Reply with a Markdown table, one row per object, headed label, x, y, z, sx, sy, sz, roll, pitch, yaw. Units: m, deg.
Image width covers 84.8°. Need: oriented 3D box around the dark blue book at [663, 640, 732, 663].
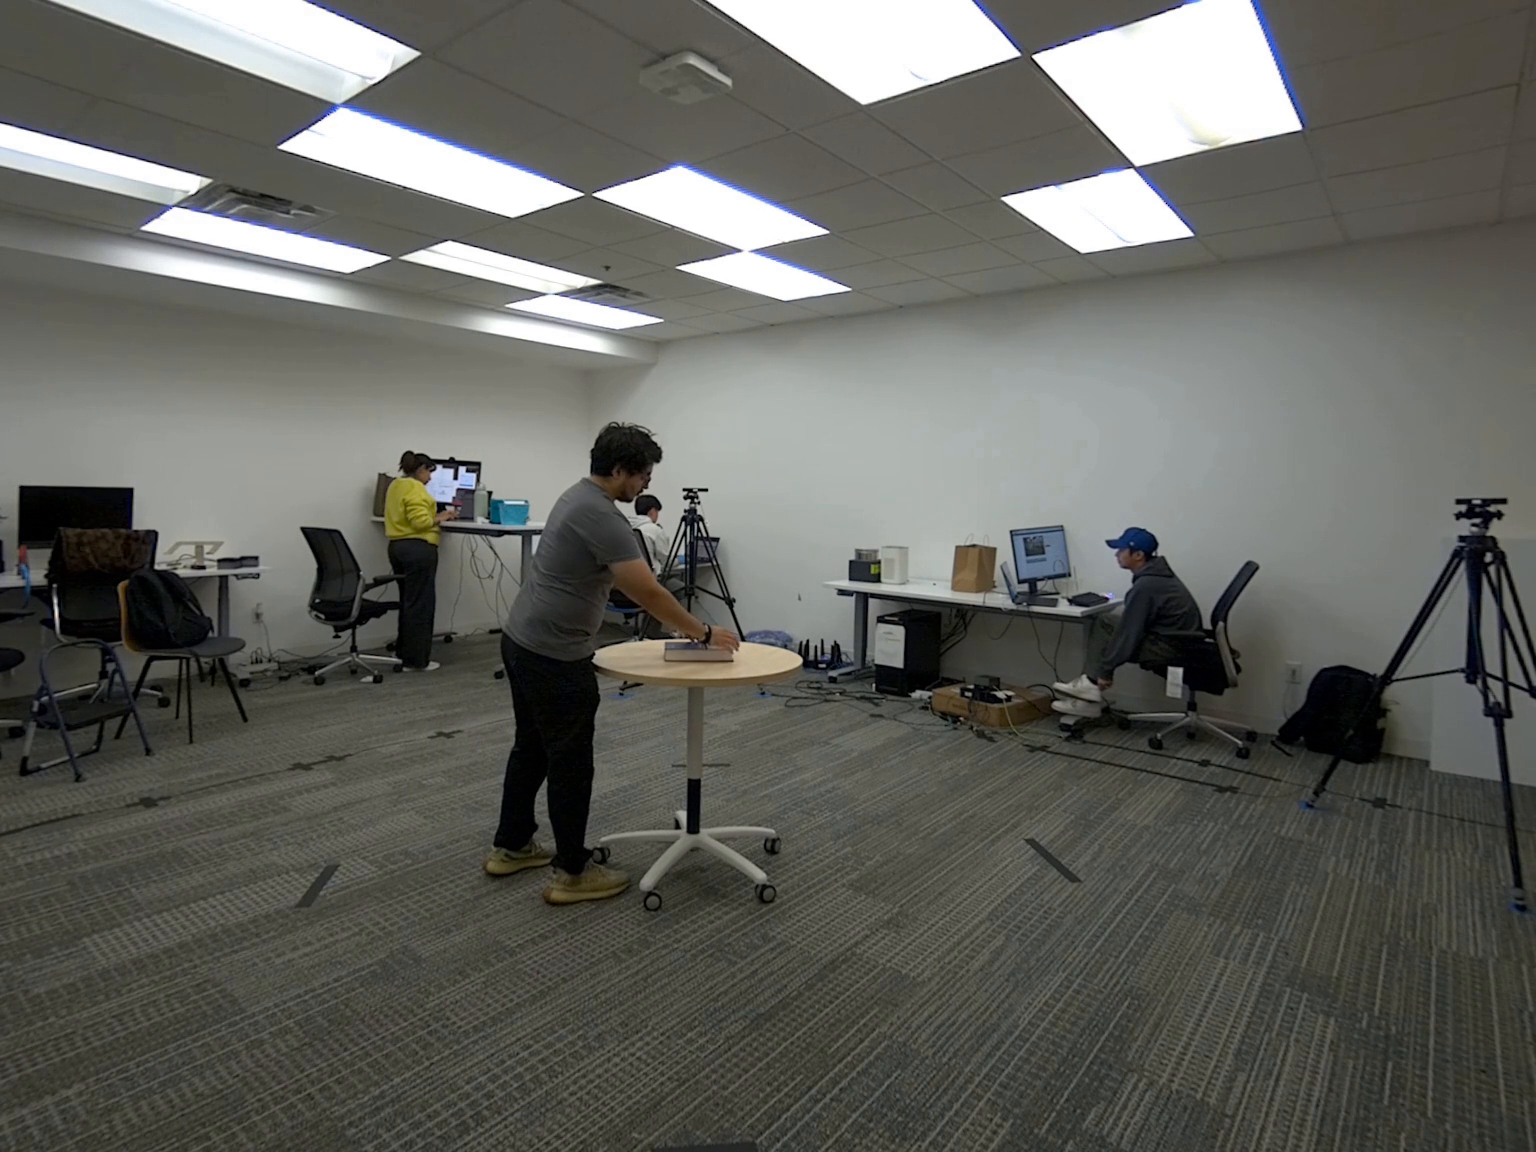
| label | x | y | z | sx | sy | sz | roll | pitch | yaw |
| --- | --- | --- | --- | --- | --- | --- | --- | --- | --- |
| dark blue book | -0.265 | 0.269 | 3.063 | 0.244 | 0.045 | 0.165 | 2 | 6 | -4 |
